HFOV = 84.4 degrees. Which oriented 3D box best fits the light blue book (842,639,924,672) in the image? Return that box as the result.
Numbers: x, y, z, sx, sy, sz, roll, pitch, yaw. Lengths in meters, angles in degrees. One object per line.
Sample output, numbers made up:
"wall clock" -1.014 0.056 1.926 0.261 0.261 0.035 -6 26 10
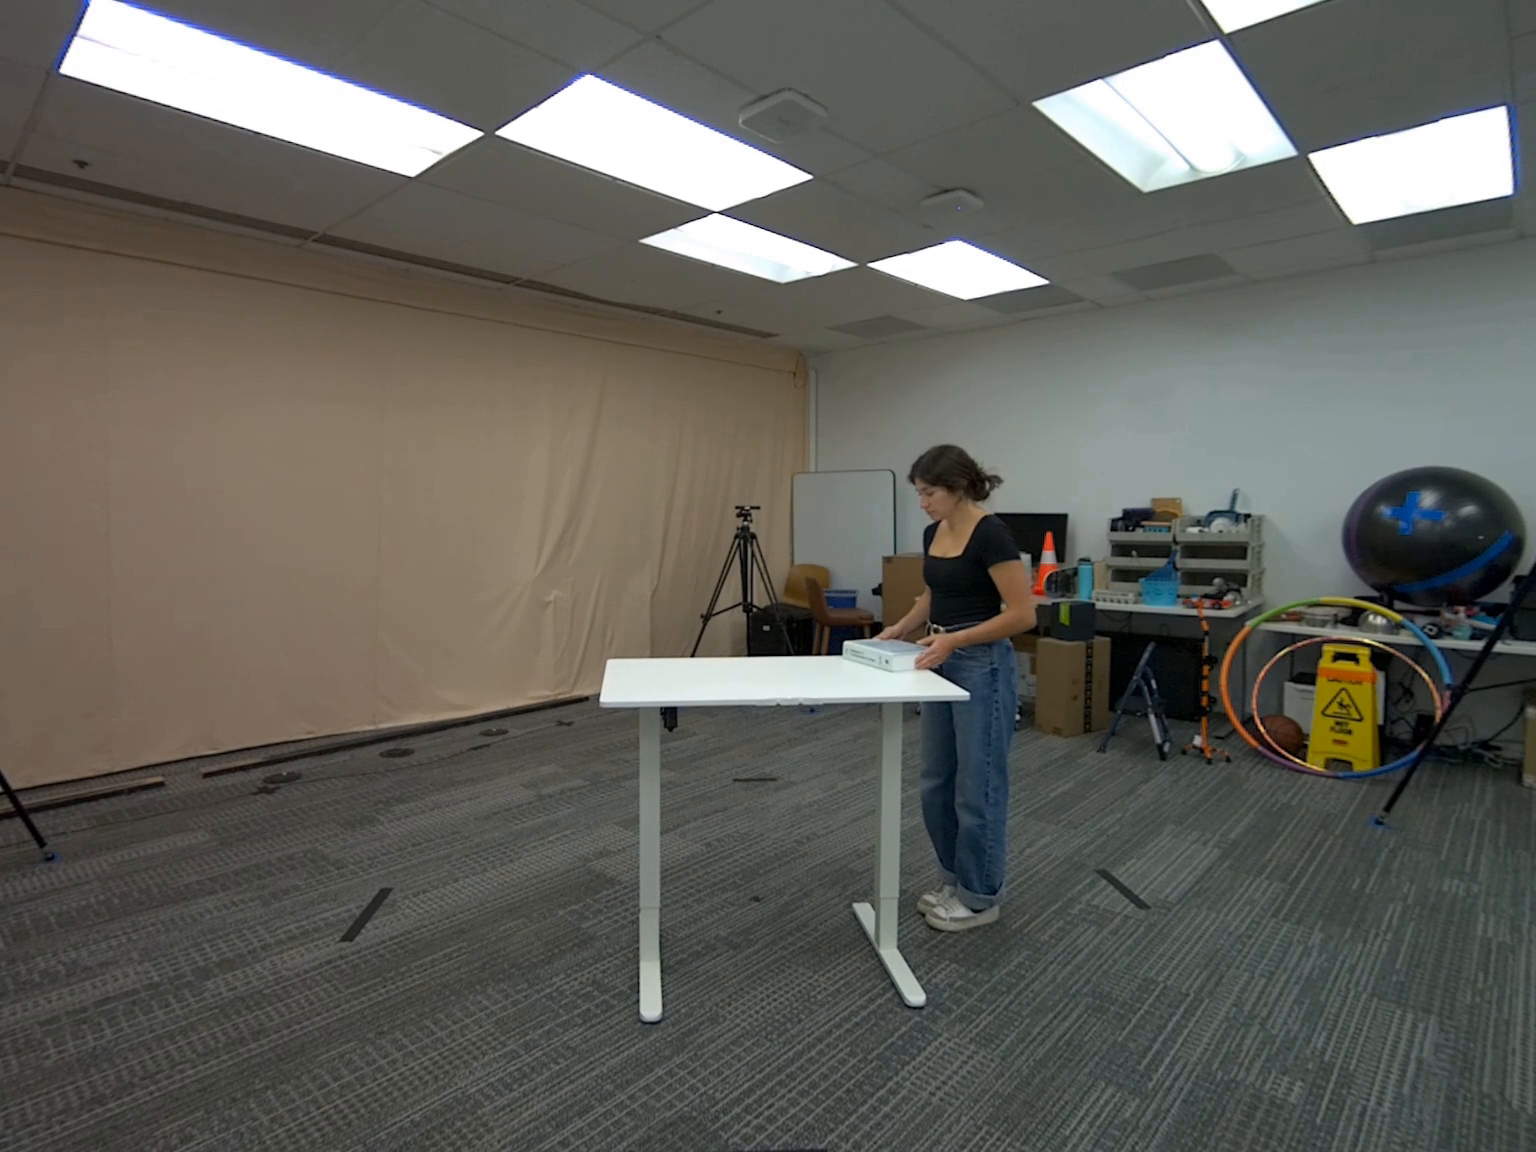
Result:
"light blue book" 0.402 0.261 2.739 0.187 0.059 0.268 -1 5 -27
